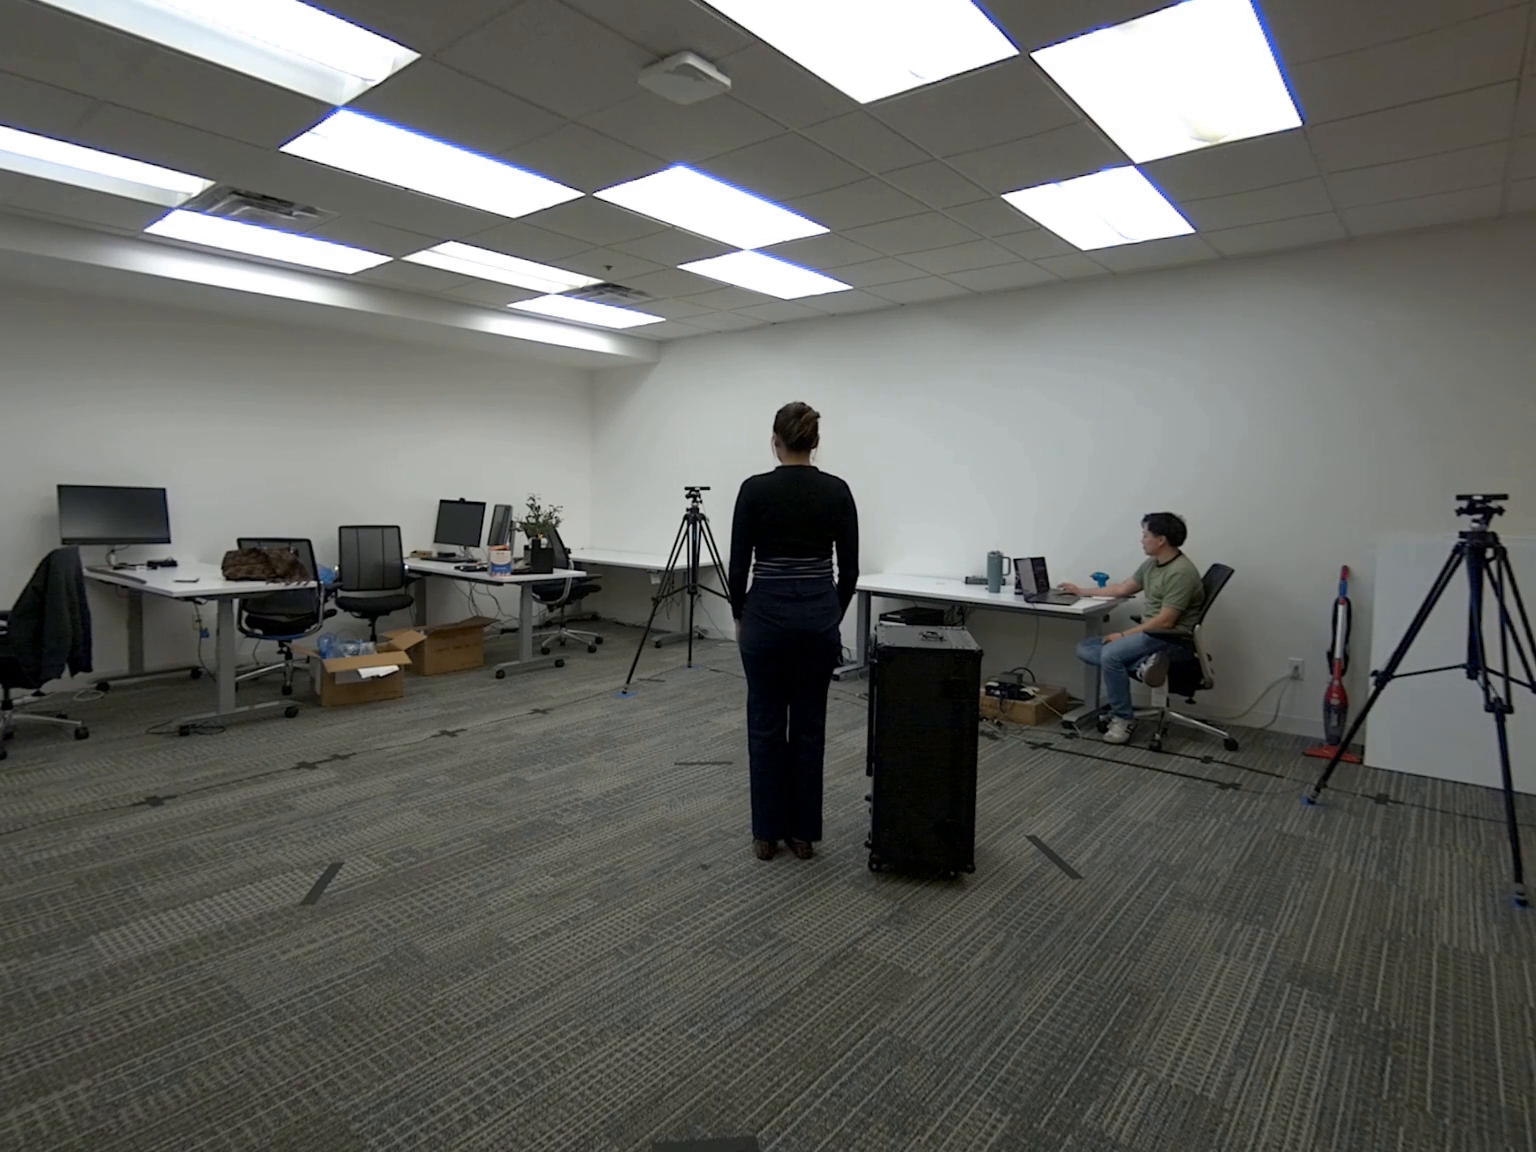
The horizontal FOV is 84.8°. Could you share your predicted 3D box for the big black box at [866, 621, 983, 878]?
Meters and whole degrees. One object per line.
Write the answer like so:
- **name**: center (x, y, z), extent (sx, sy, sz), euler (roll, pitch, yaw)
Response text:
- **big black box**: center (0.562, 0.650, 3.195), extent (0.400, 0.859, 0.518), euler (0, 3, 8)
